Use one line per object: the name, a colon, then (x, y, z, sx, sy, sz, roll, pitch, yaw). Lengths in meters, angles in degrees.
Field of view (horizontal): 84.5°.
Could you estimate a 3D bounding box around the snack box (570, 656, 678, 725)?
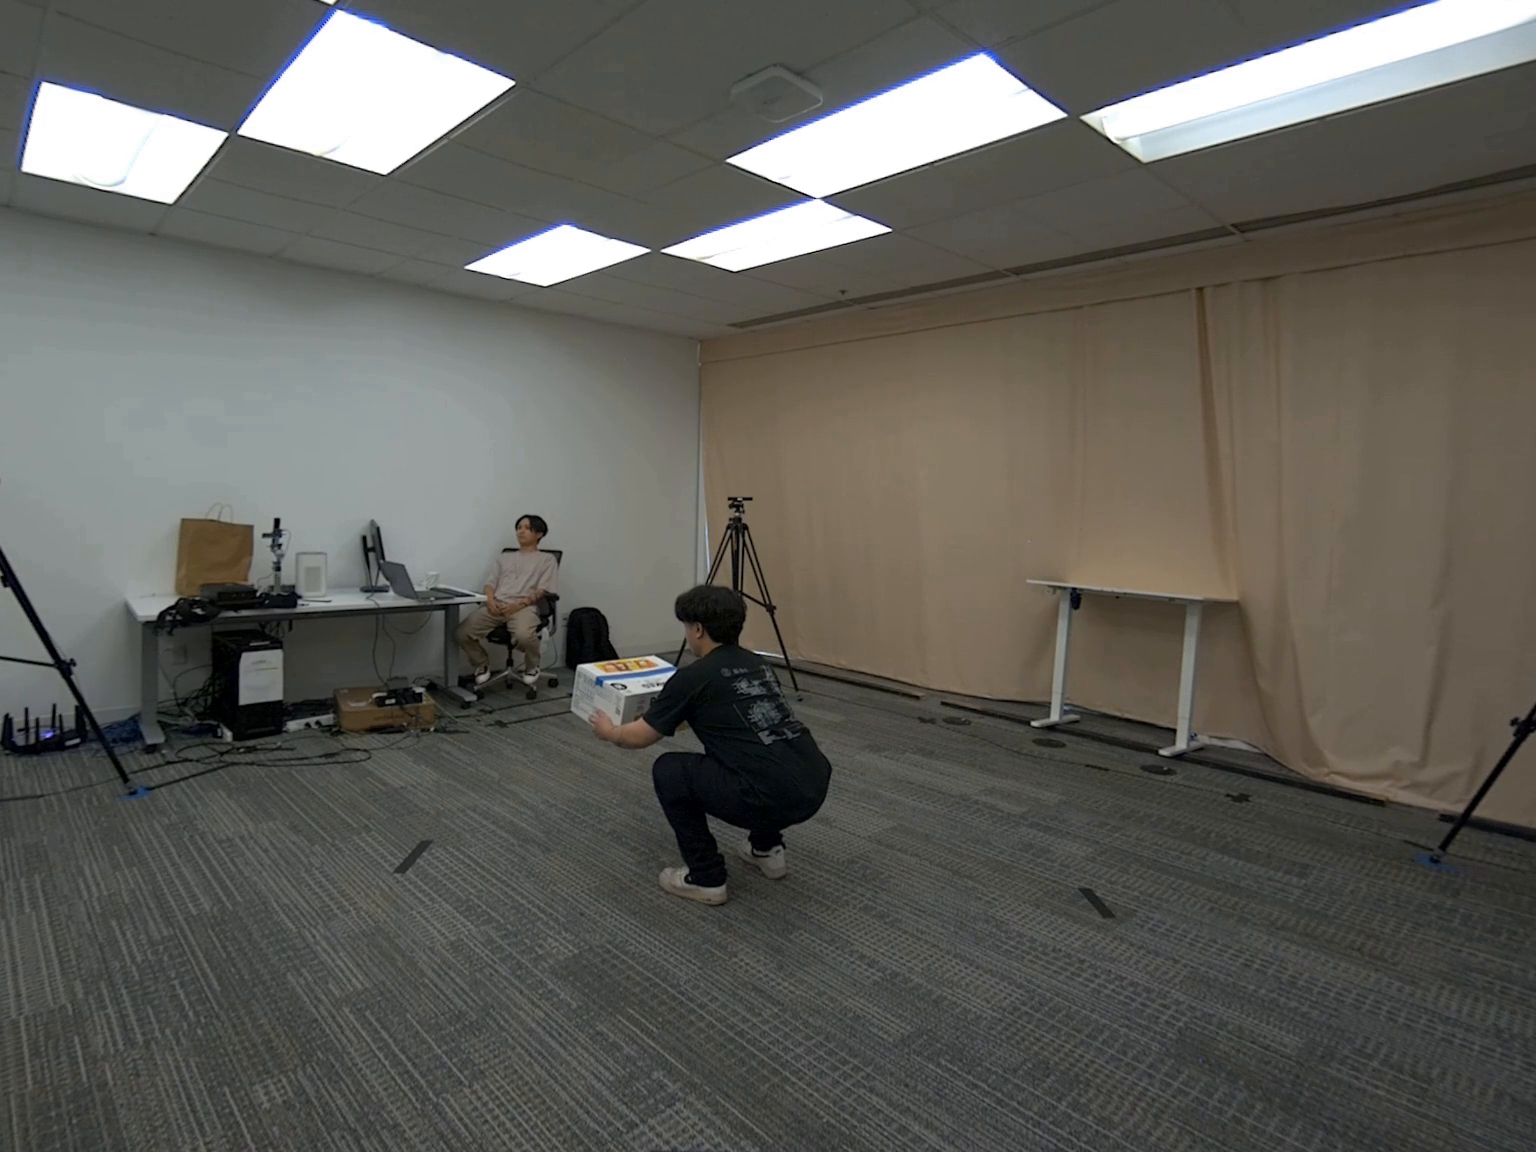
snack box: (-0.544, 0.492, 3.462, 0.396, 0.204, 0.350, -2, 16, -45)
